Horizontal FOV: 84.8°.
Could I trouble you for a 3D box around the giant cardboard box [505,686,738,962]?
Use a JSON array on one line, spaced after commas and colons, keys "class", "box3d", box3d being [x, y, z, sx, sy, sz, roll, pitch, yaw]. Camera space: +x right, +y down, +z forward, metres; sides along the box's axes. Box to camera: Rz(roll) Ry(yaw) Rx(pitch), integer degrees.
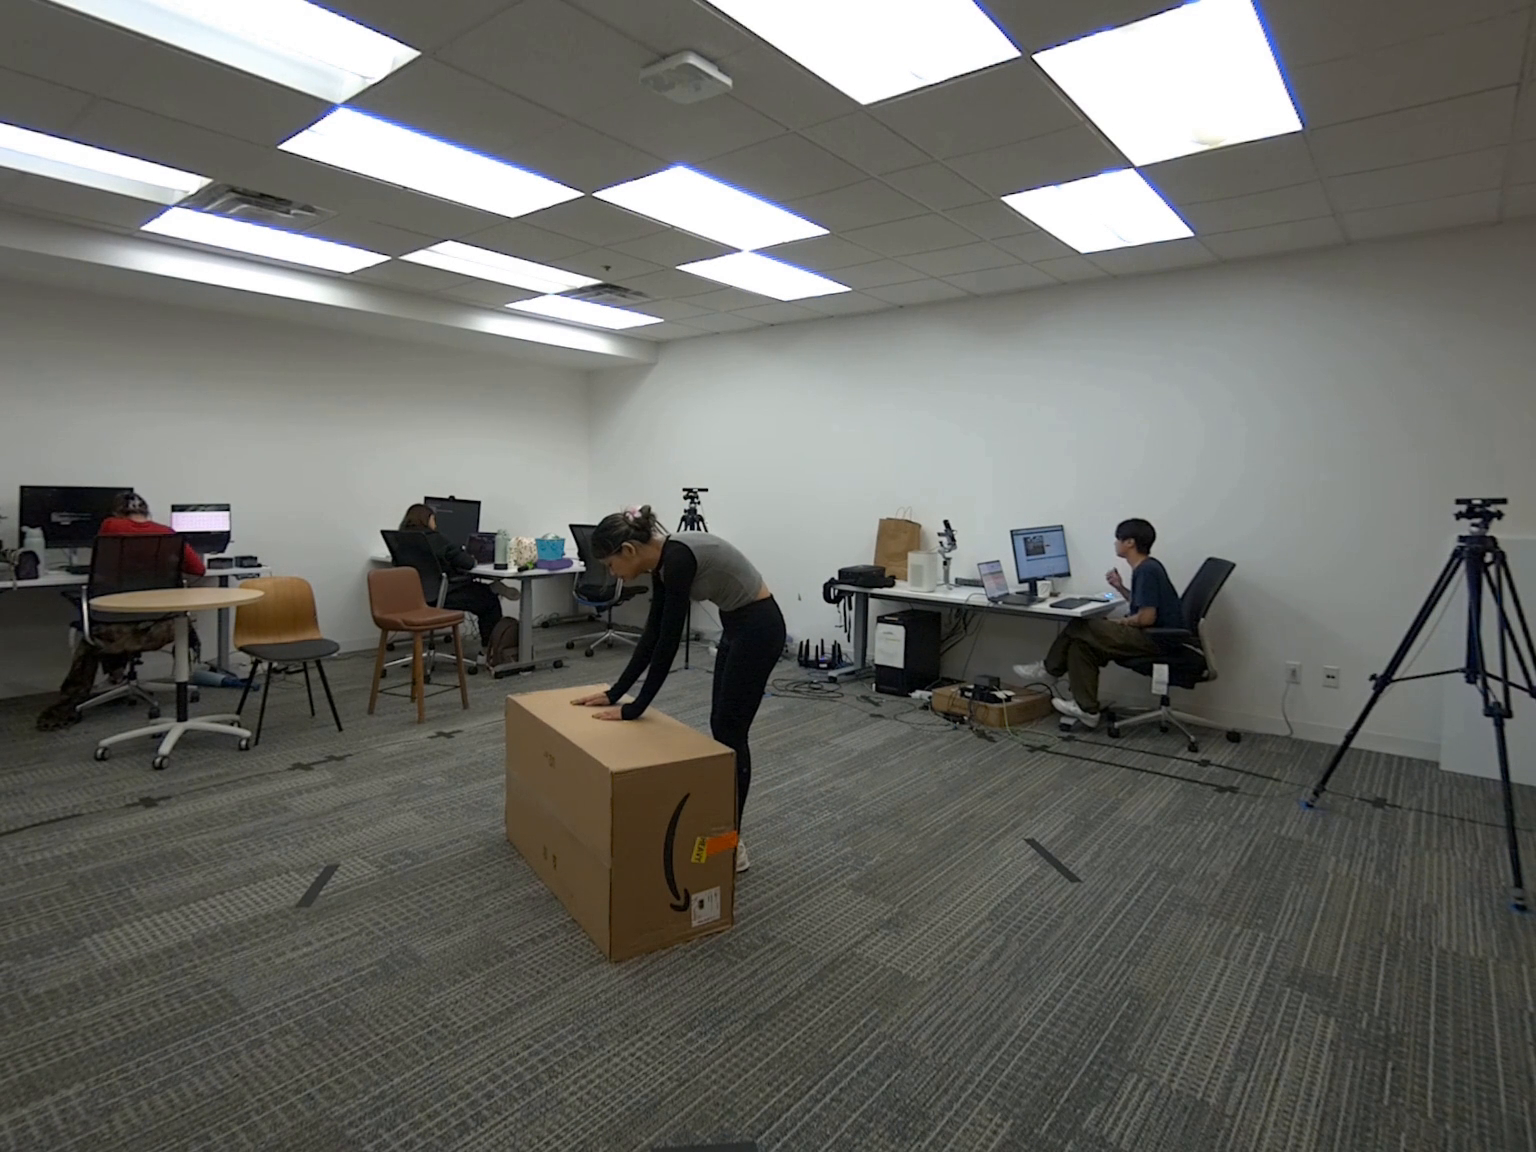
[{"class": "giant cardboard box", "box3d": [-0.575, 0.786, 2.999, 0.414, 0.575, 1.059, -1, 6, -33]}]
